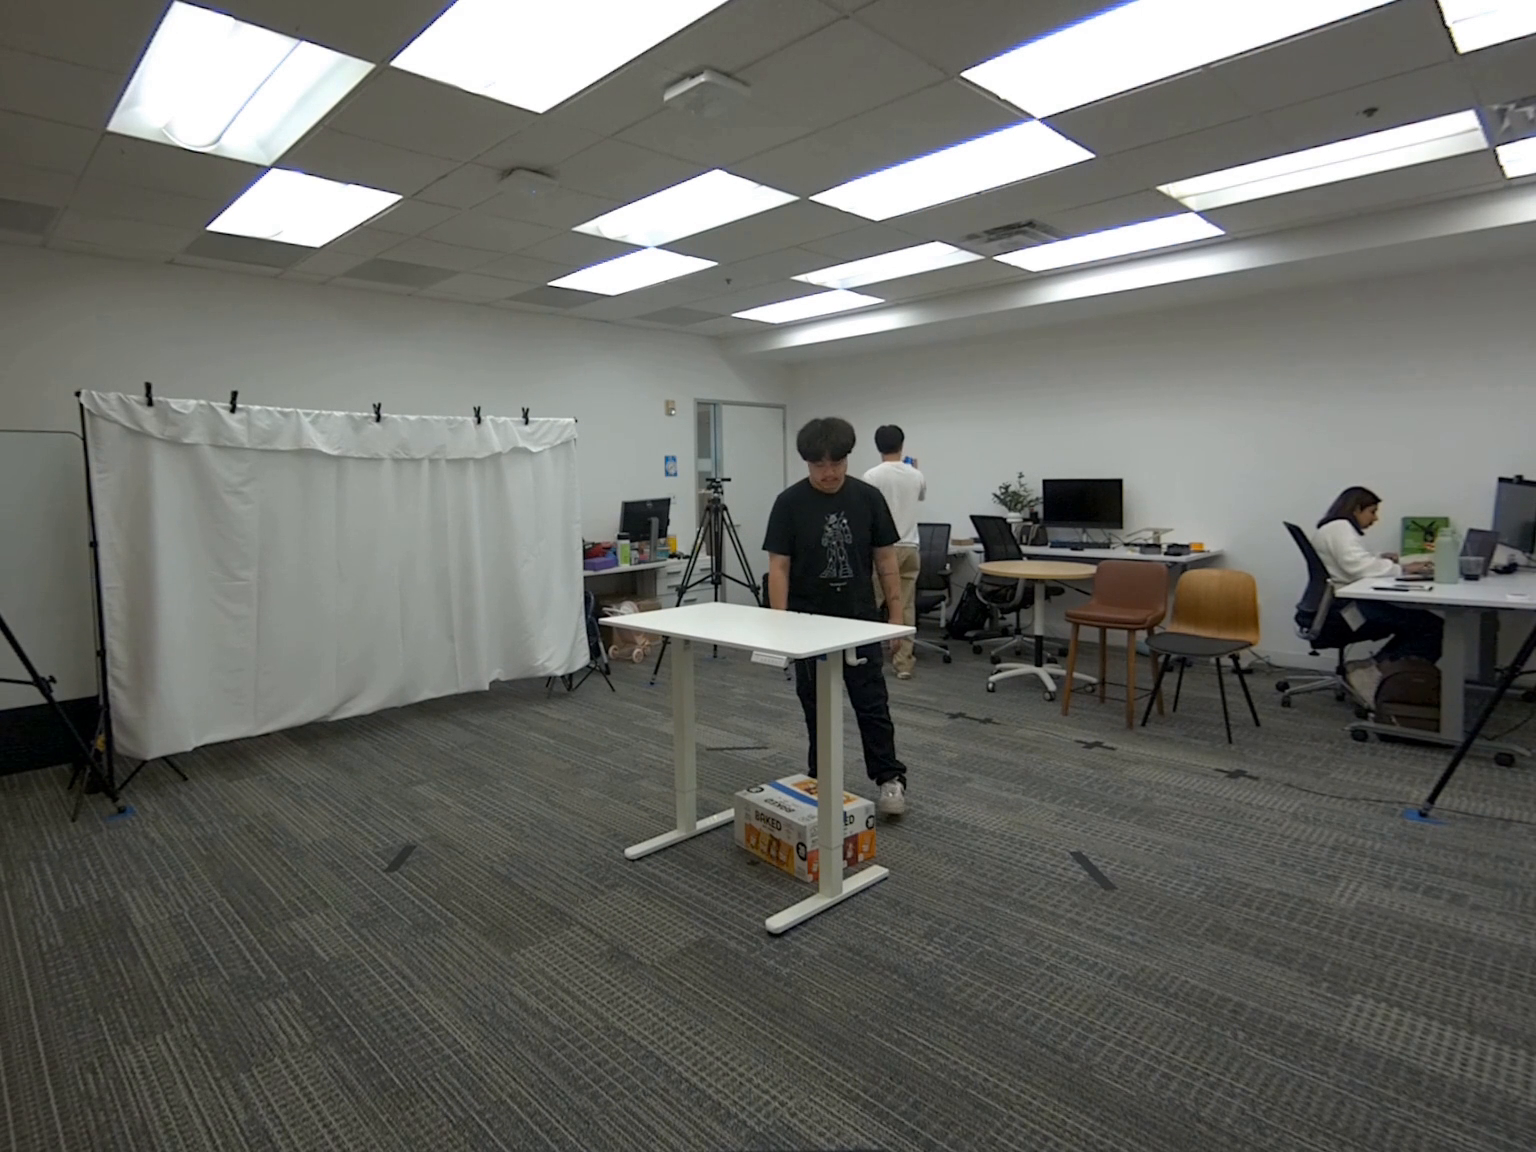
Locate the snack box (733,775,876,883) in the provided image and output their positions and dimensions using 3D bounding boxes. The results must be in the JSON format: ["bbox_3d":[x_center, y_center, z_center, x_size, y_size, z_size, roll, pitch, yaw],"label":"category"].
[{"bbox_3d":[0.133,0.930,3.191,0.331,0.205,0.417,-5,7,-39],"label":"snack box"}]
